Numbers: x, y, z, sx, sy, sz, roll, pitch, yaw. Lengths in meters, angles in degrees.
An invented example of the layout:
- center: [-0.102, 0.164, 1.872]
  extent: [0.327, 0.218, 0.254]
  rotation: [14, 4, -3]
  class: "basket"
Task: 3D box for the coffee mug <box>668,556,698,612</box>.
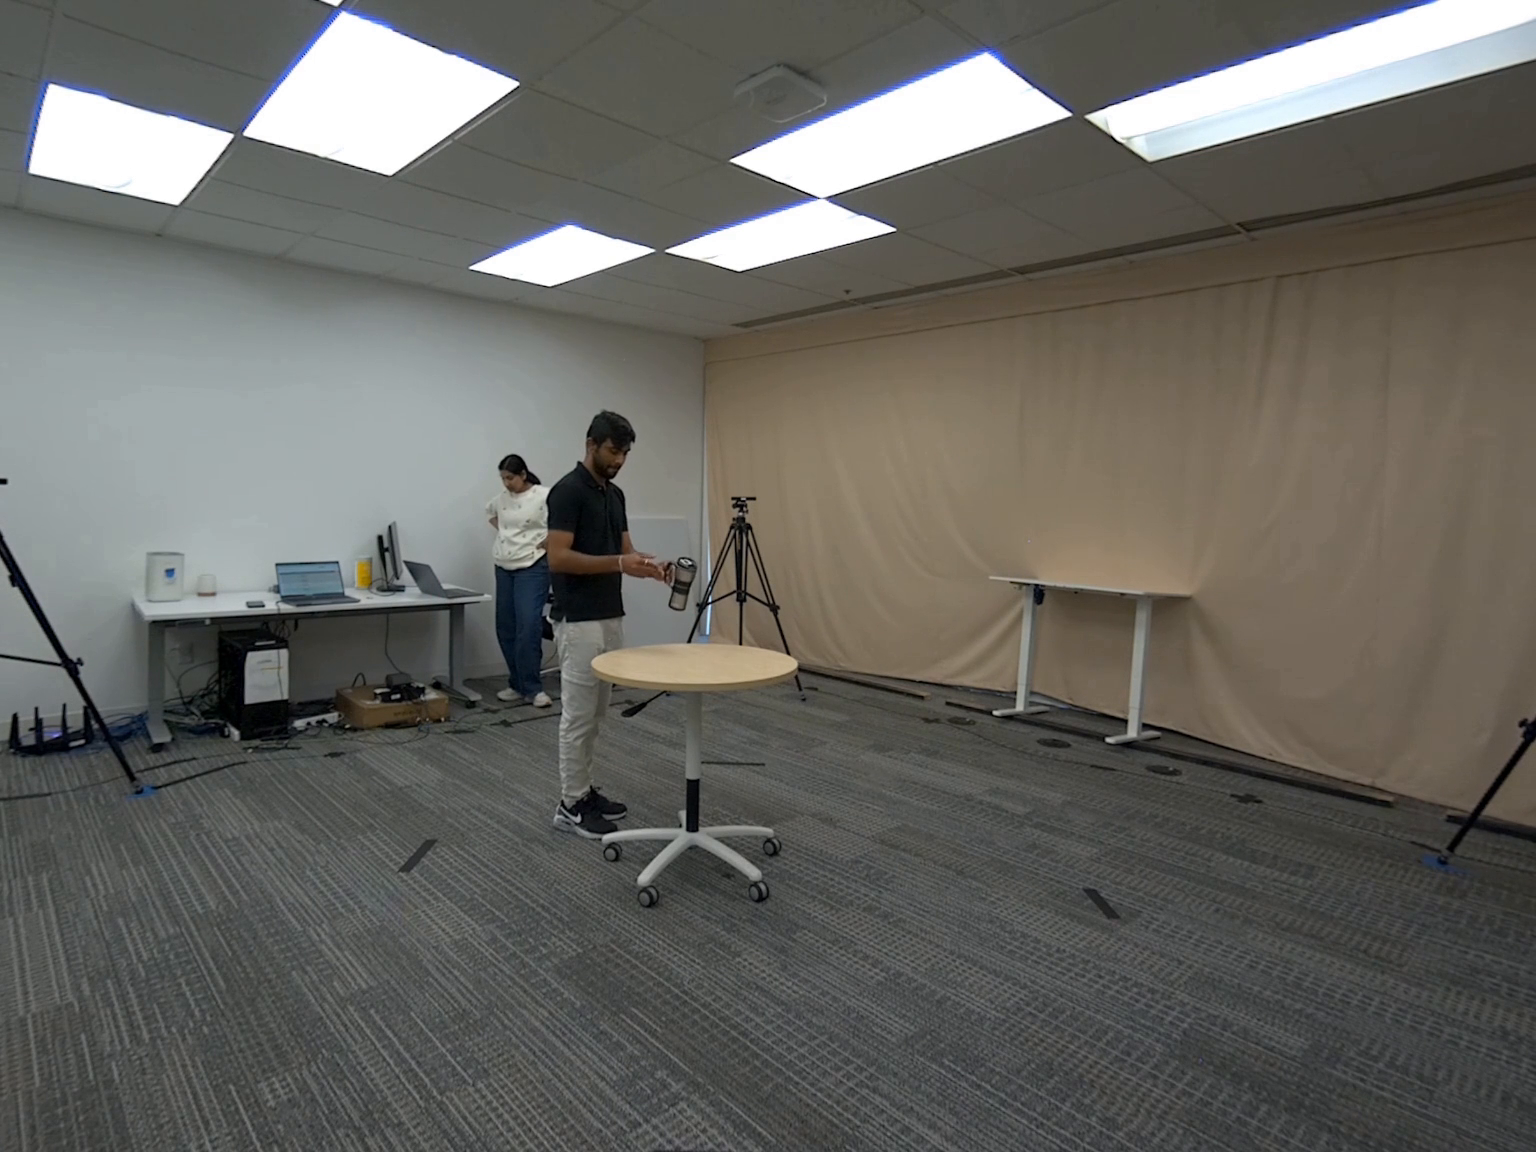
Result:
- center: [-0.368, 0.028, 3.386]
  extent: [0.086, 0.201, 0.126]
  rotation: [-5, 26, -42]
  class: "coffee mug"
